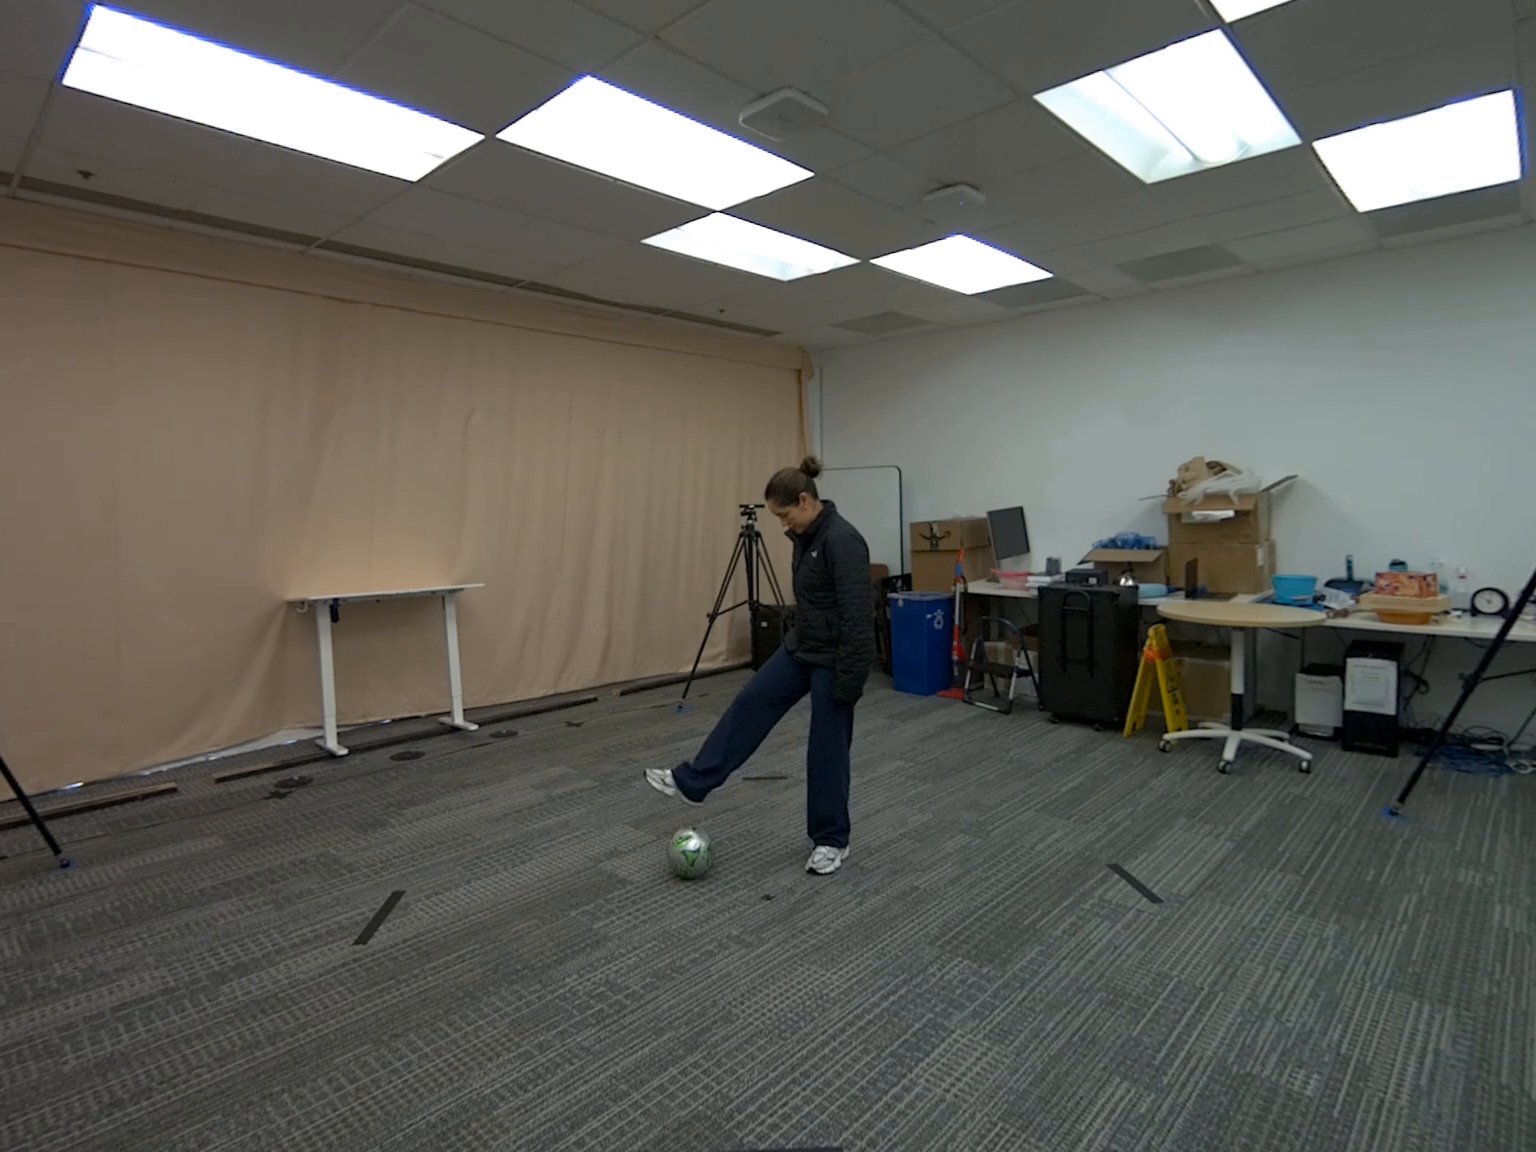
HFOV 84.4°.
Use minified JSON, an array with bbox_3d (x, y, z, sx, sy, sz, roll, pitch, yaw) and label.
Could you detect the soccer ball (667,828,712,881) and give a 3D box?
[{"bbox_3d":[-0.289,1.033,3.165,0.187,0.187,0.188,-1,4,-2],"label":"soccer ball"}]
